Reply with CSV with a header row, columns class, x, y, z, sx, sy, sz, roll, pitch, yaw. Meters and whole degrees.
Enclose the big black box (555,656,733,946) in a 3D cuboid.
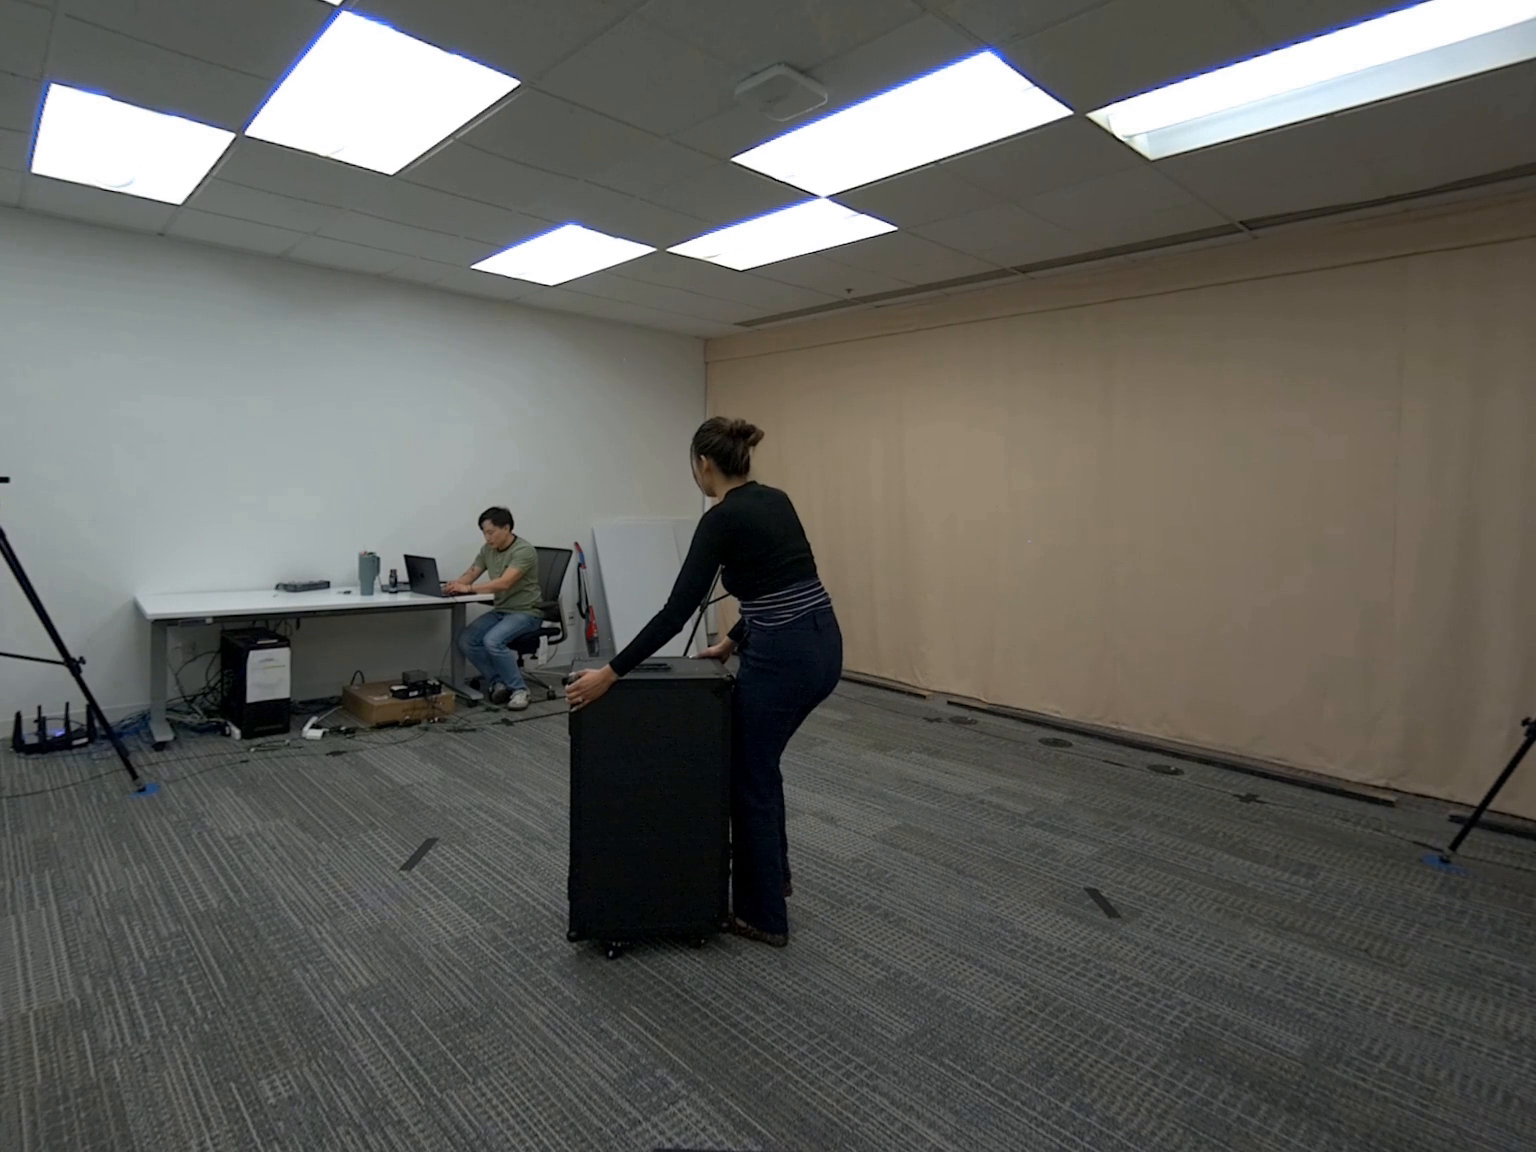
class,x,y,z,sx,sy,sz,roll,pitch,yaw
big black box,-0.395,0.712,2.678,0.517,0.860,0.400,1,2,-10
